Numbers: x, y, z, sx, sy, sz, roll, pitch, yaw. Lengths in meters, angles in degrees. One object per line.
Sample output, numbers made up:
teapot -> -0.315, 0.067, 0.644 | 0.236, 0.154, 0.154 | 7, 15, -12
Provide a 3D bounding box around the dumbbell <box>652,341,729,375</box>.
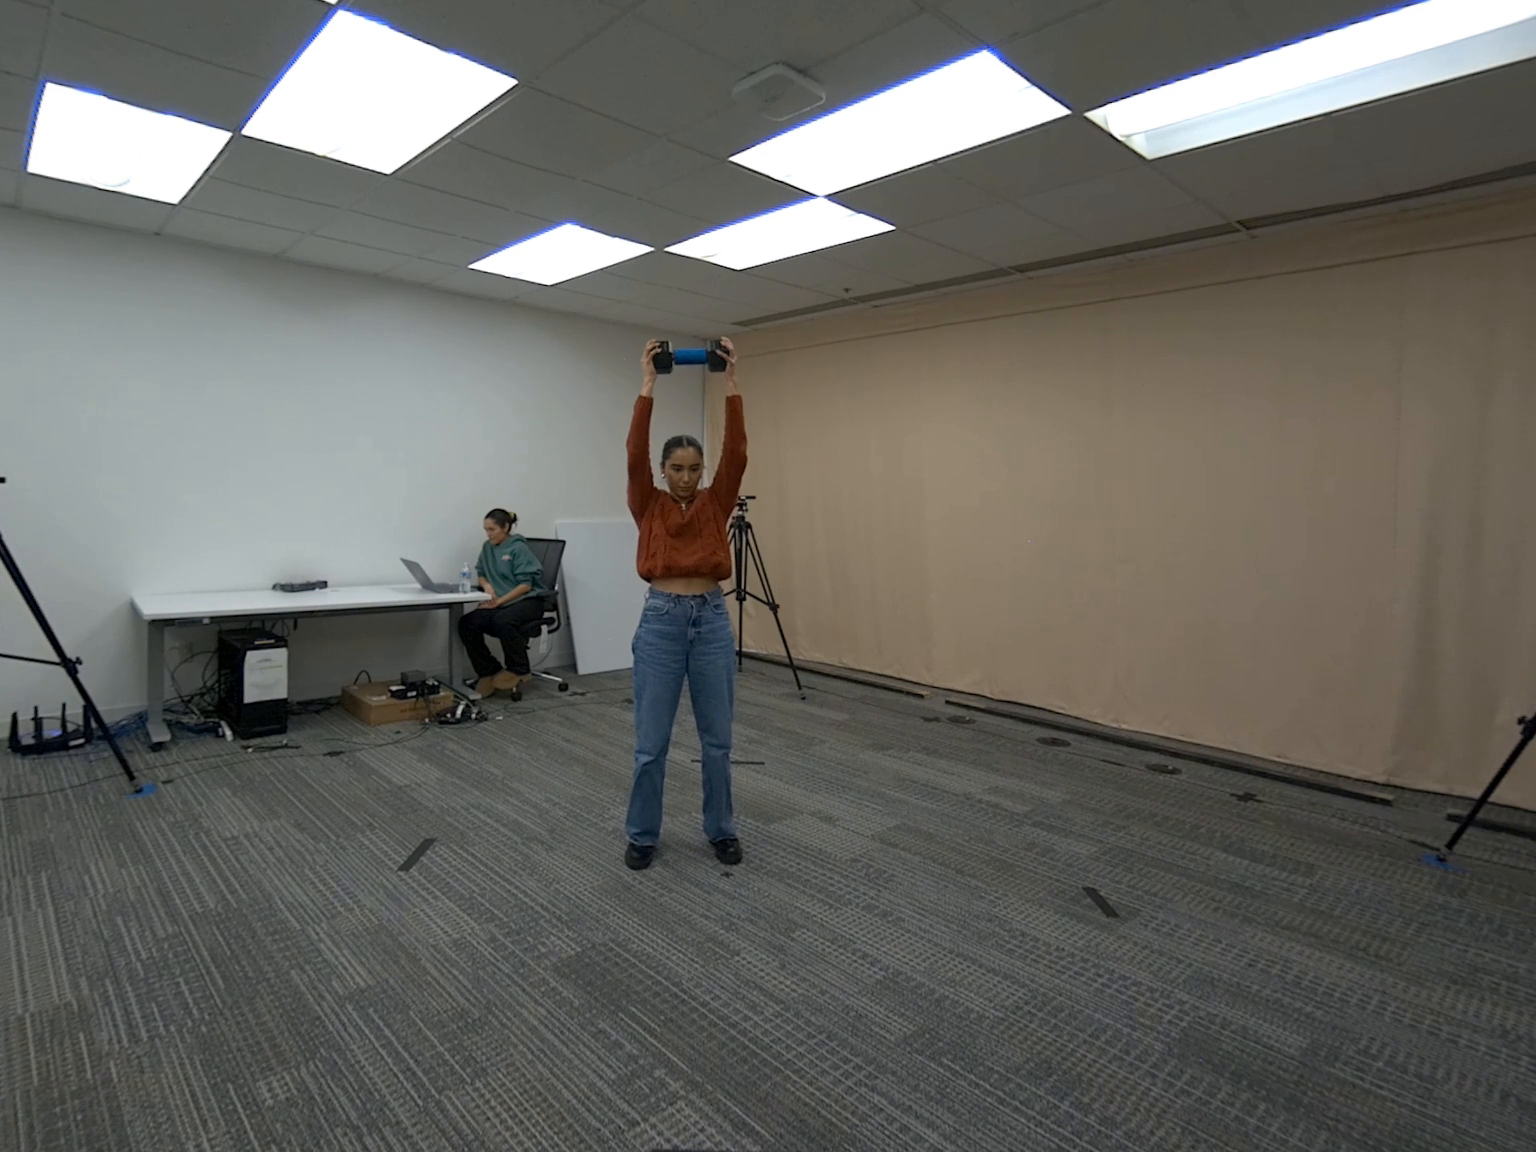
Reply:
dumbbell -> -0.303, -0.807, 3.138 | 0.293, 0.126, 0.106 | -1, -40, -3
